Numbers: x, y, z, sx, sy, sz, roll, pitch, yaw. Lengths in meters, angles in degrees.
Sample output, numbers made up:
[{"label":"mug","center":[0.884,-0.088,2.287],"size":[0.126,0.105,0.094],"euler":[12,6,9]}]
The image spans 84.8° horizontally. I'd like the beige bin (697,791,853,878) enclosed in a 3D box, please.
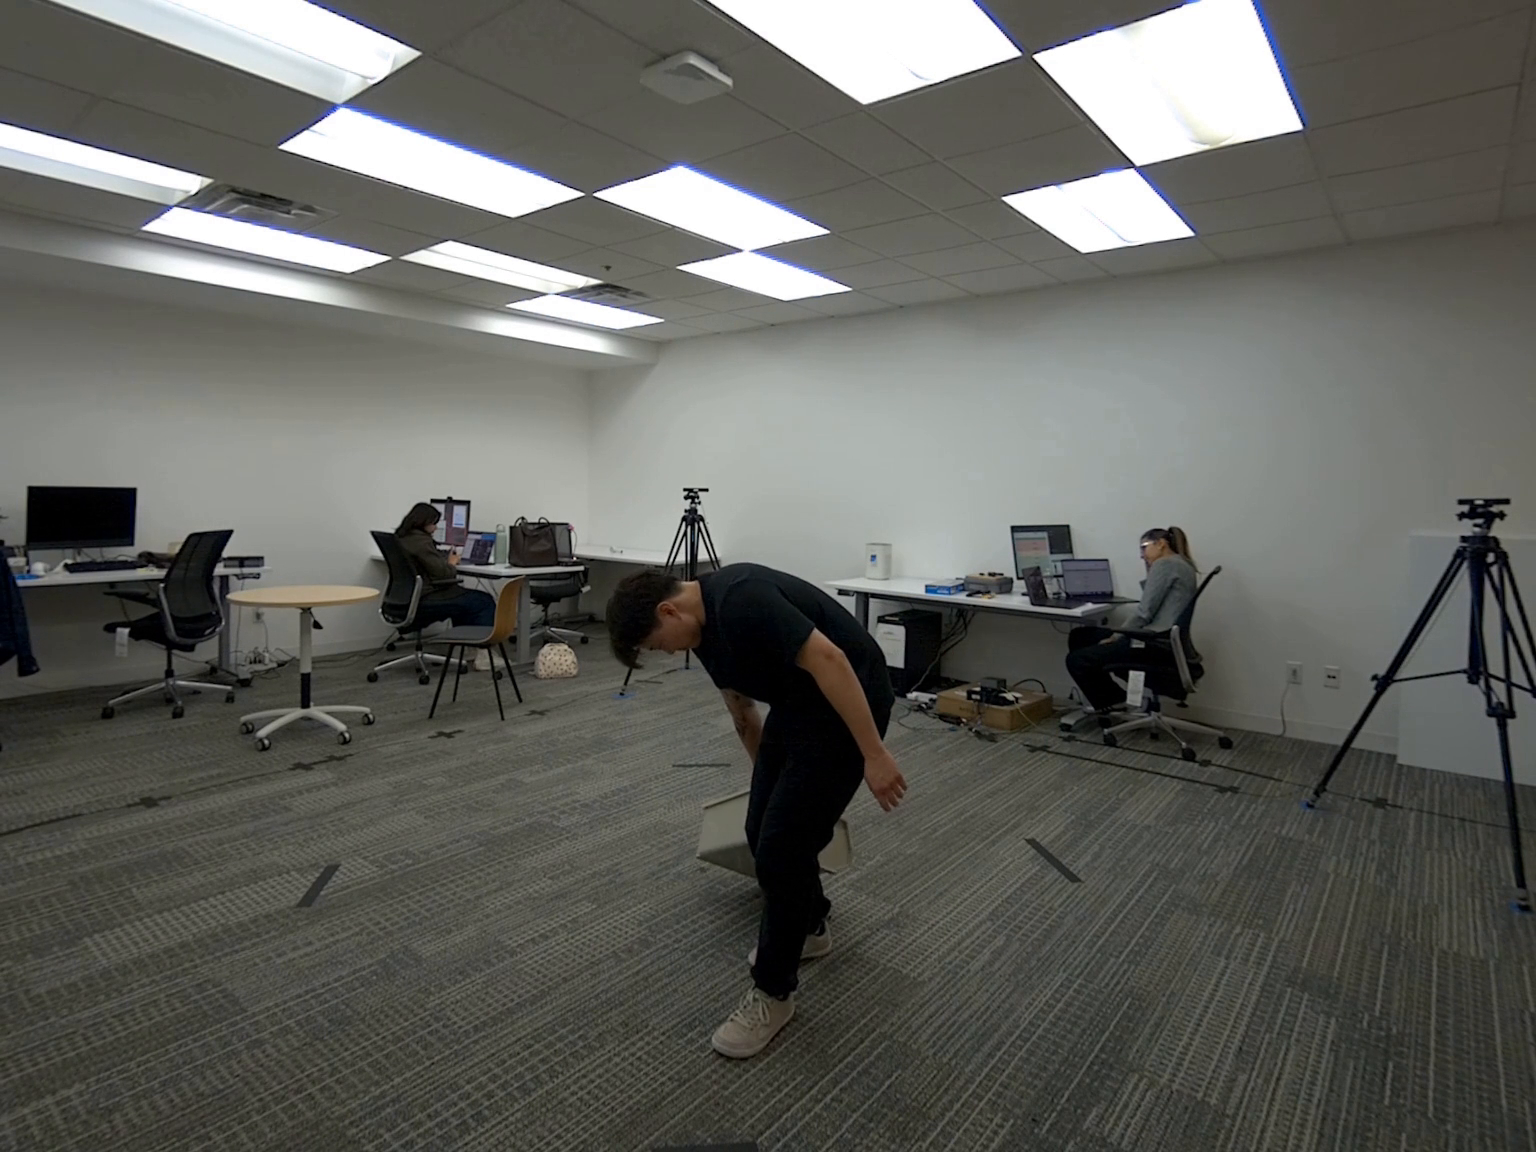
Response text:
[{"label":"beige bin","center":[0.008,0.881,2.856],"size":[0.368,0.192,0.425],"euler":[26,-33,-20]}]
